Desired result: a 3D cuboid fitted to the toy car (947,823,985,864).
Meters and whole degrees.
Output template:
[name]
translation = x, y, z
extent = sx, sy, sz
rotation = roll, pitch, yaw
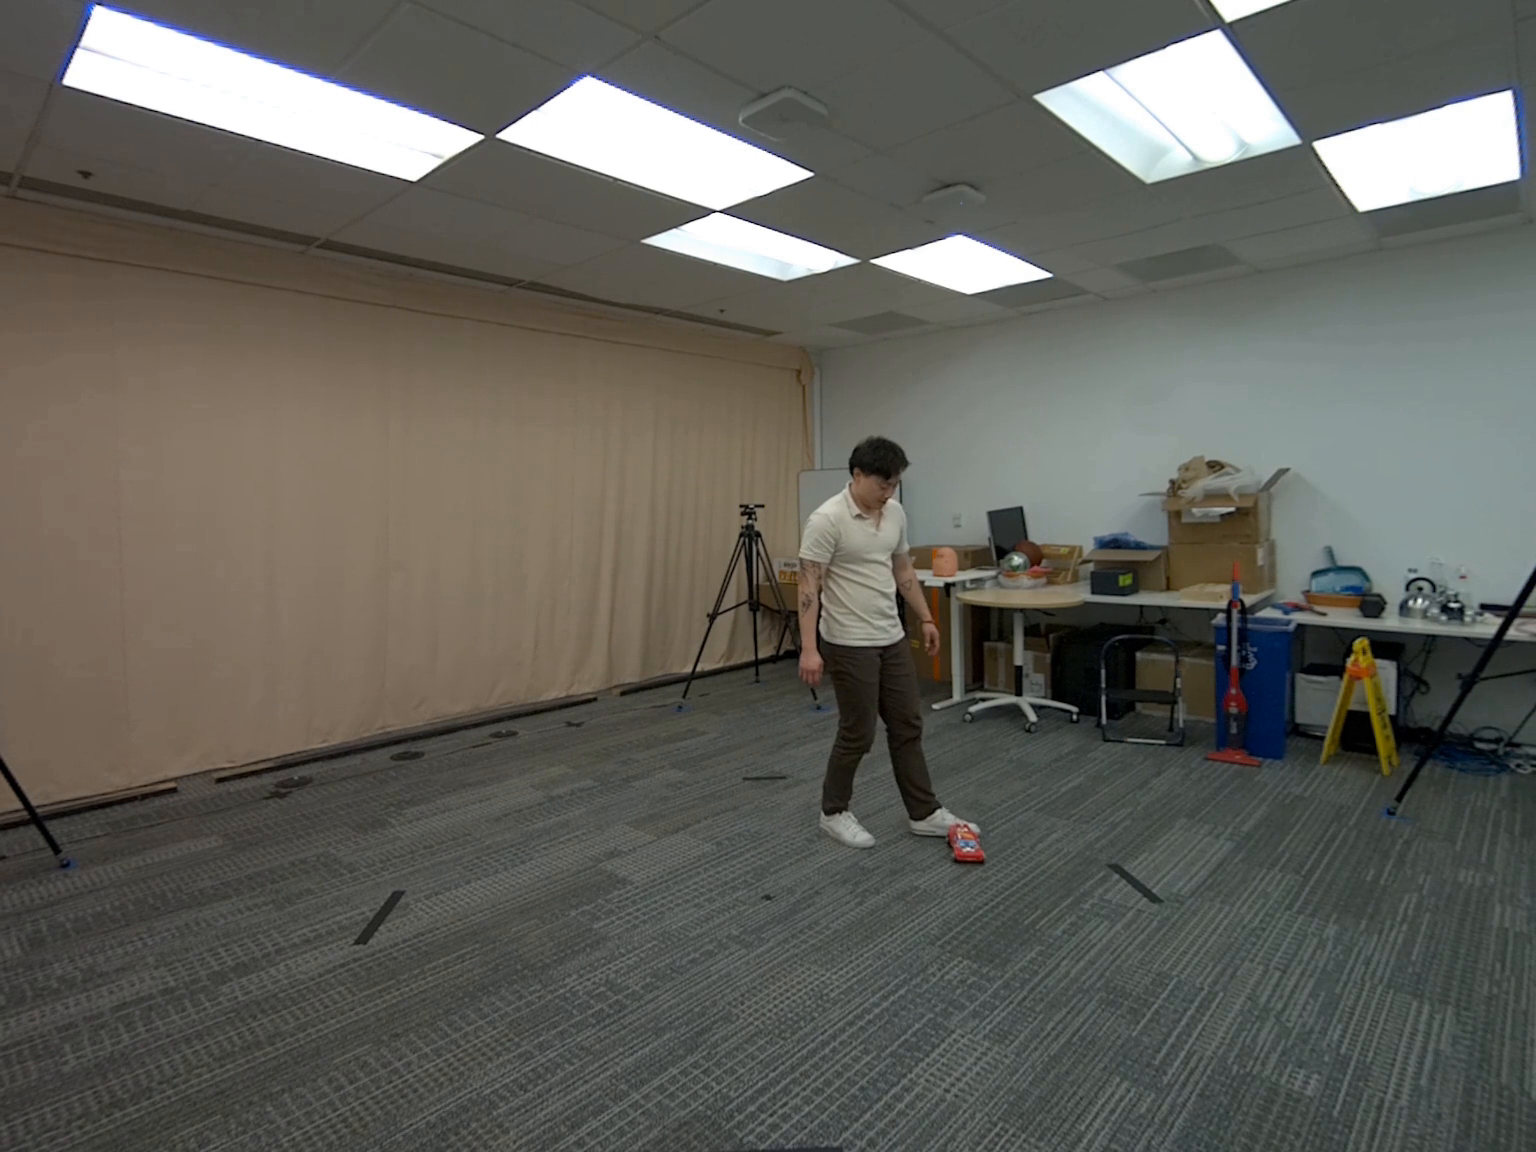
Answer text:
[toy car]
translation = 0.779, 1.061, 3.343
extent = 0.131, 0.082, 0.256
rotation = -2, 16, 4
